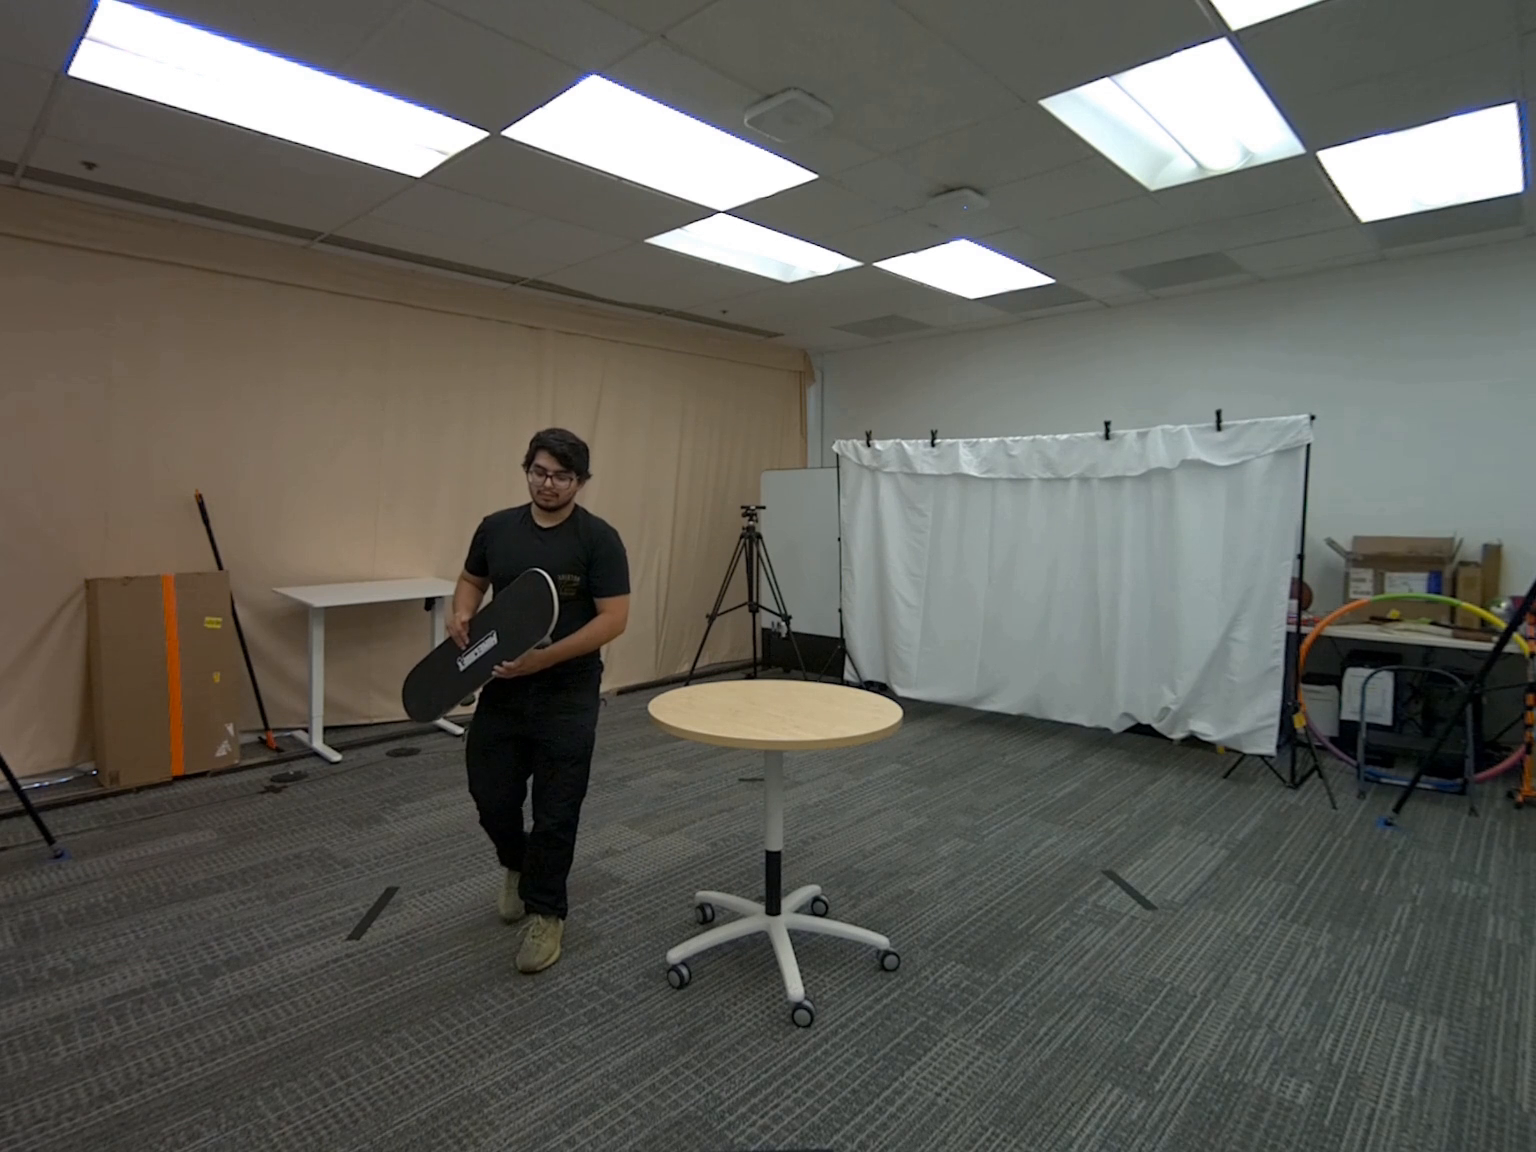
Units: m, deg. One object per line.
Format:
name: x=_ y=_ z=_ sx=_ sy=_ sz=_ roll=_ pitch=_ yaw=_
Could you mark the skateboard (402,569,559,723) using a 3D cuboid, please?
skateboard: x=-0.824 y=0.220 z=2.469 sx=0.796 sy=0.197 sz=0.107 roll=-36 pitch=-21 yaw=32
